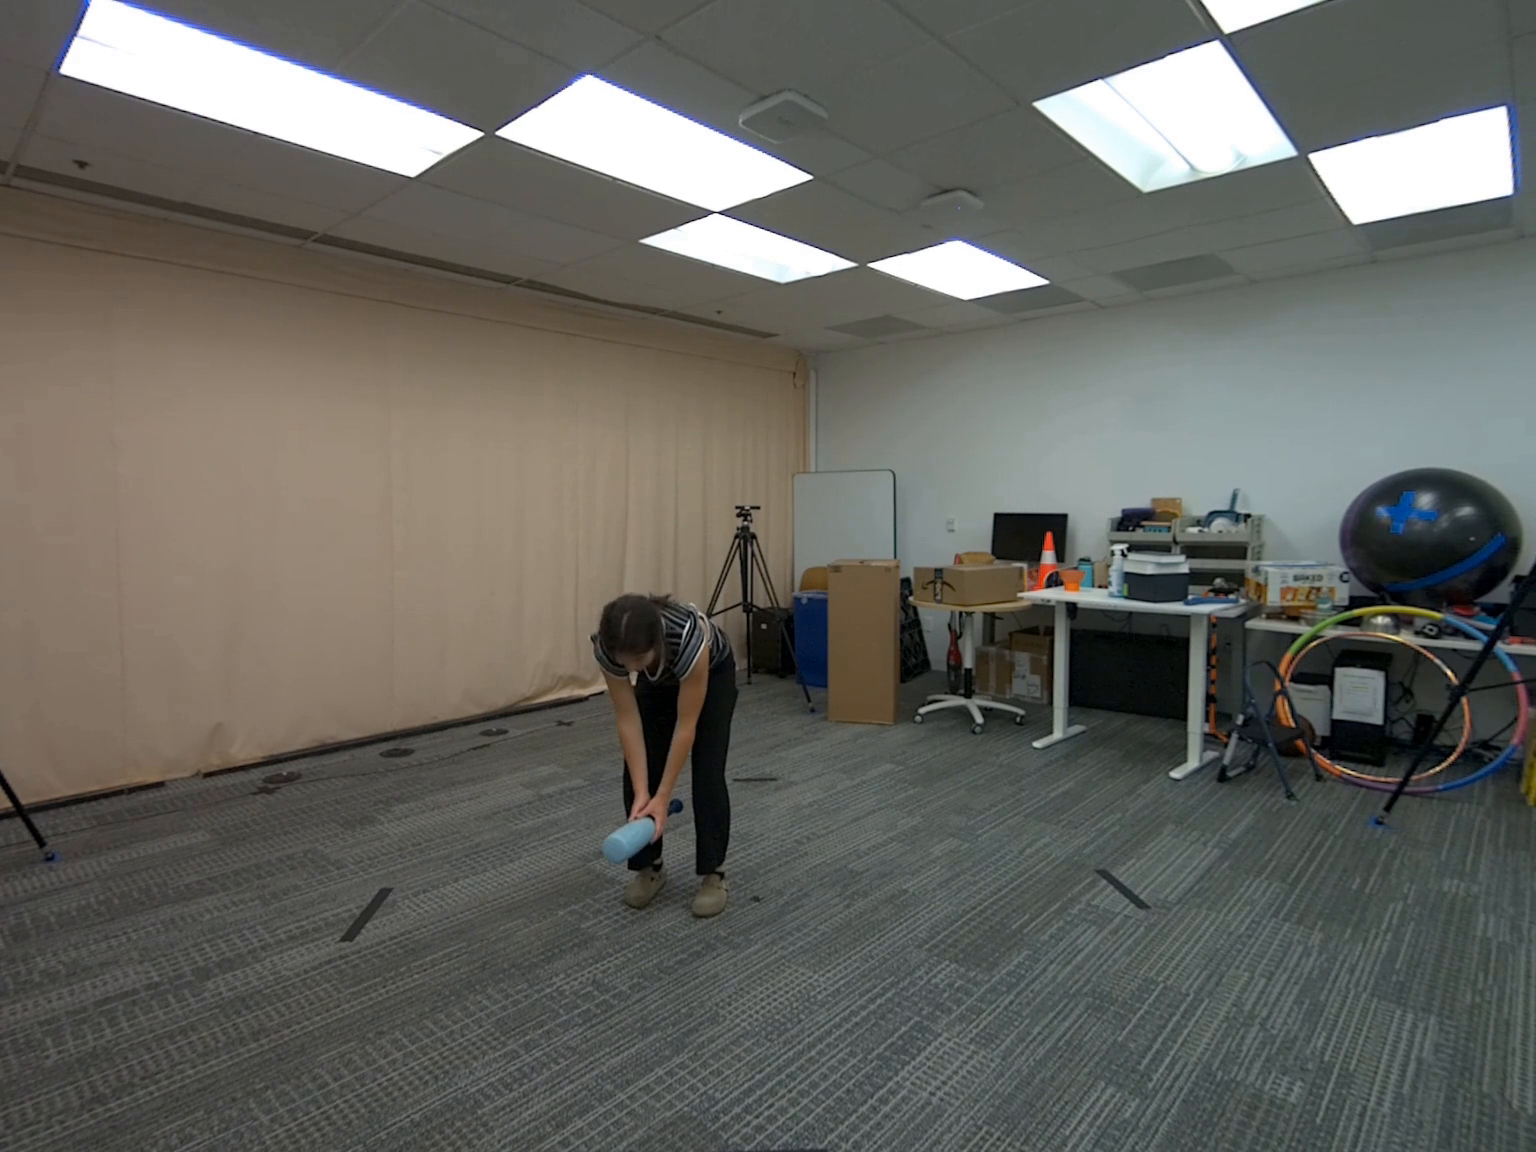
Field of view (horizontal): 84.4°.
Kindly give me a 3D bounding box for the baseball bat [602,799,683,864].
[{"bbox_3d":[-0.381,0.815,2.710,0.090,0.089,0.534,1,0,13],"label":"baseball bat"}]
